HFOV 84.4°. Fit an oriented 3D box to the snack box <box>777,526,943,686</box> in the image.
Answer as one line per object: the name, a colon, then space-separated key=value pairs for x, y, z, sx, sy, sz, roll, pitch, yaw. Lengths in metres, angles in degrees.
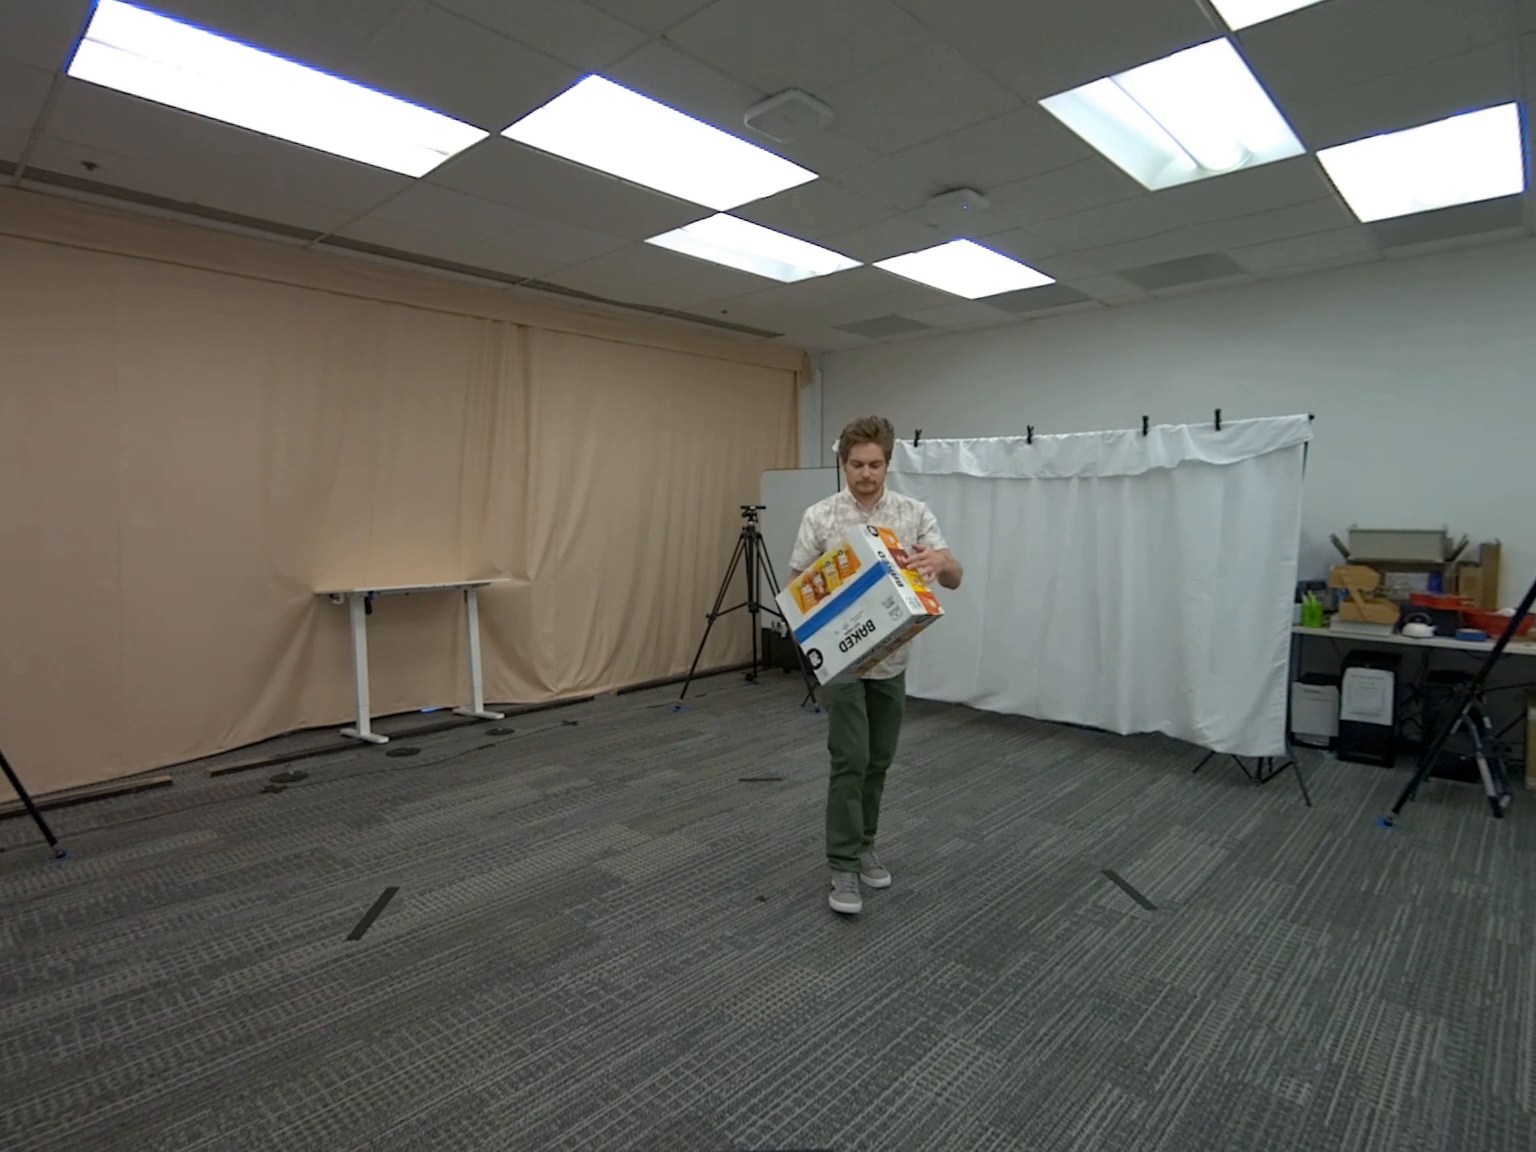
snack box: x=0.287 y=0.101 z=2.721 sx=0.199 sy=0.349 sz=0.409 roll=4 pitch=-39 yaw=-49
